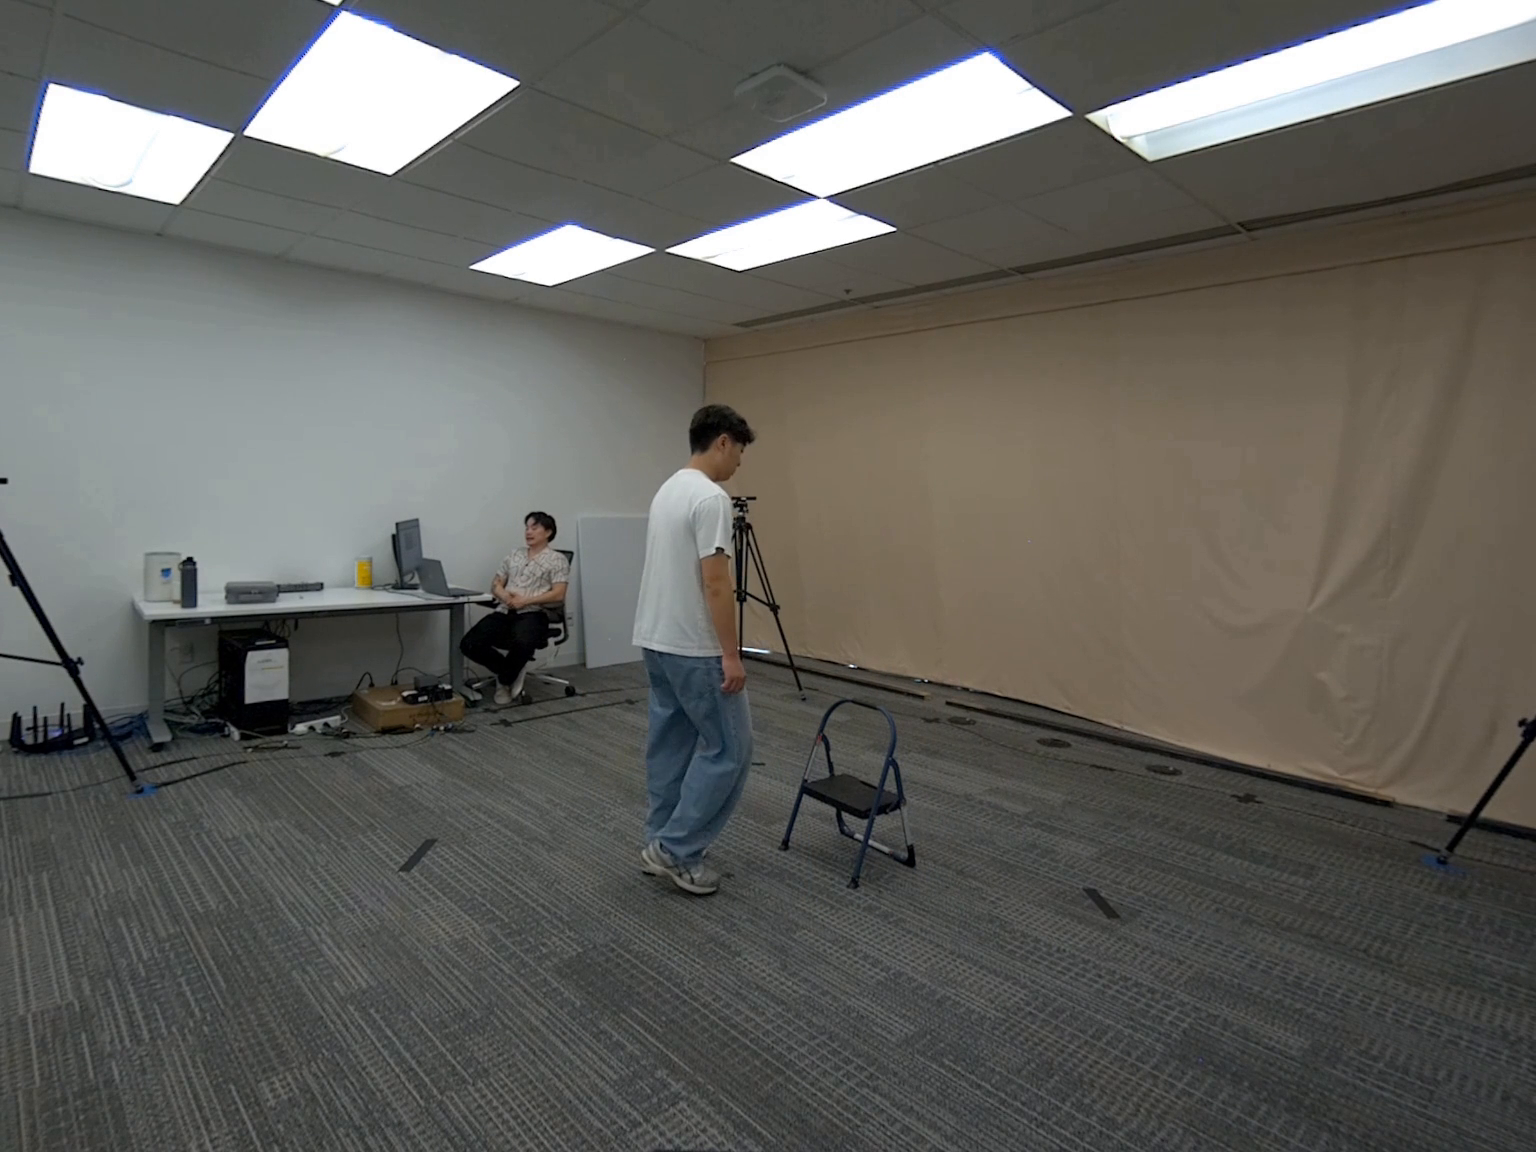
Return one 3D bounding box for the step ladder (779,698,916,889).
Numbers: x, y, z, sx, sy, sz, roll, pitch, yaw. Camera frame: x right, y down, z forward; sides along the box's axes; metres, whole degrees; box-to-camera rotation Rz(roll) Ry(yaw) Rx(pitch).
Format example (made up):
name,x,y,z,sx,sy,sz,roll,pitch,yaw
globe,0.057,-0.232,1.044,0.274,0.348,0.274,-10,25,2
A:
name,x,y,z,sx,sy,sz,roll,pitch,yaw
step ladder,0.309,0.799,3.275,0.341,0.605,0.441,-1,4,-37
